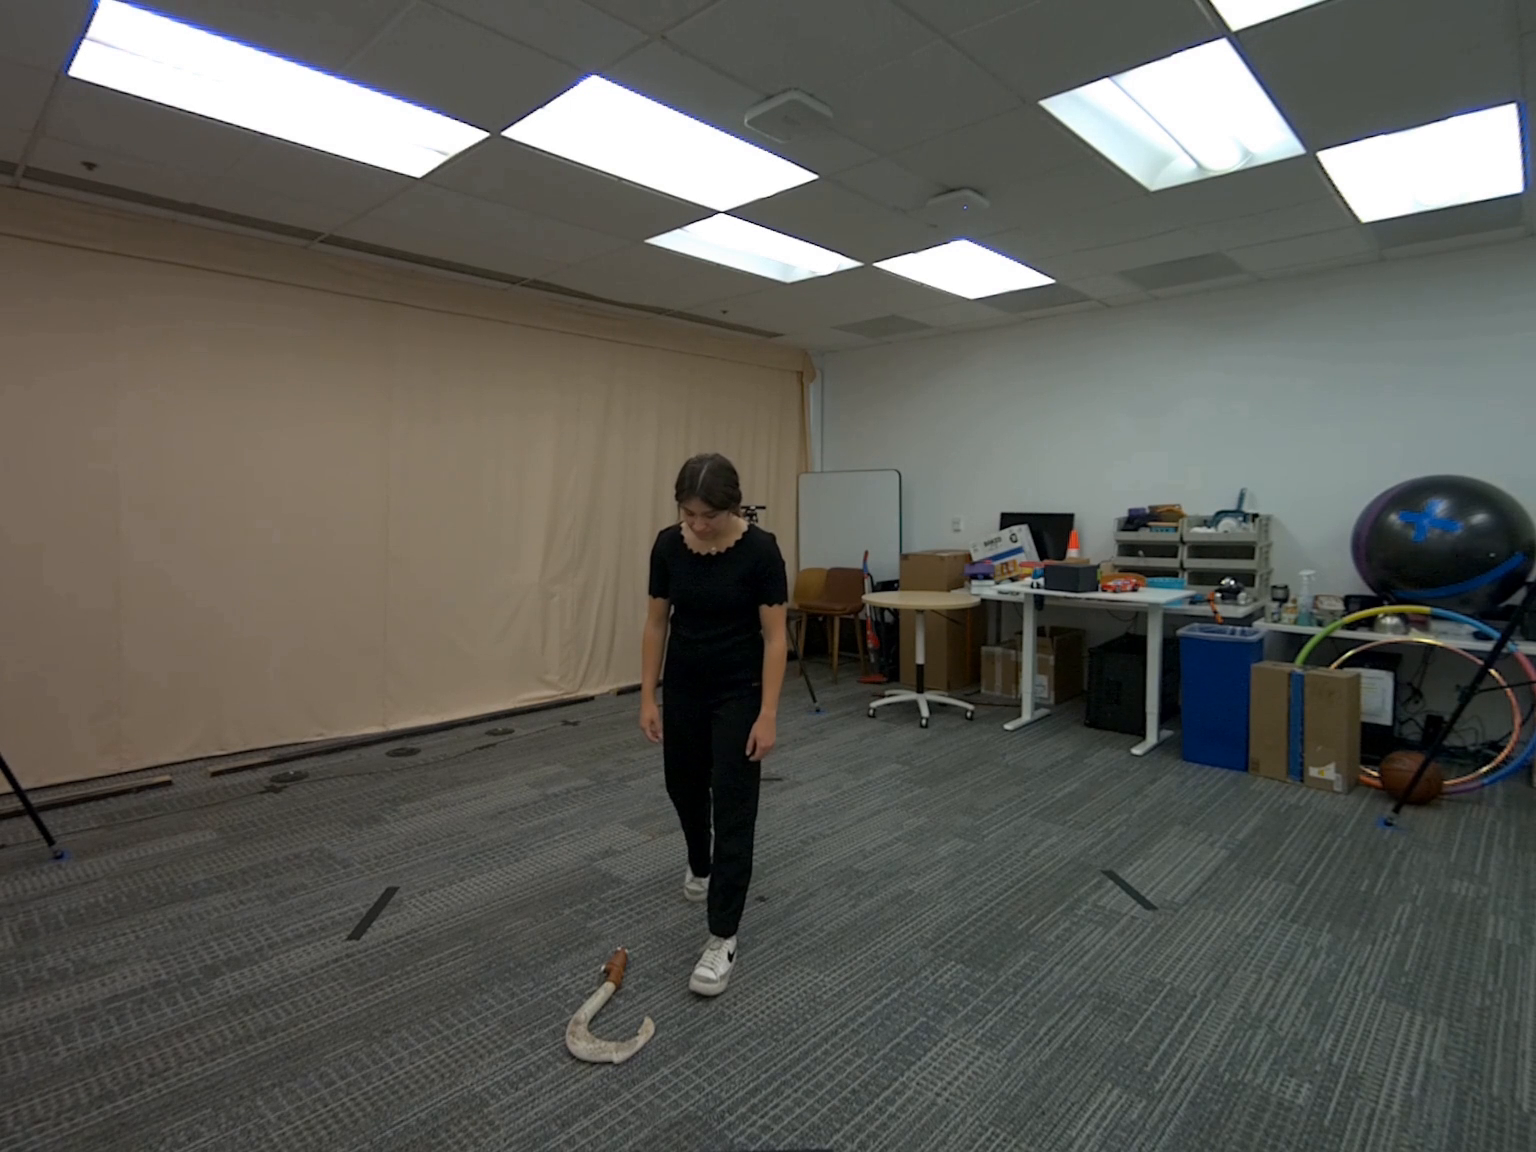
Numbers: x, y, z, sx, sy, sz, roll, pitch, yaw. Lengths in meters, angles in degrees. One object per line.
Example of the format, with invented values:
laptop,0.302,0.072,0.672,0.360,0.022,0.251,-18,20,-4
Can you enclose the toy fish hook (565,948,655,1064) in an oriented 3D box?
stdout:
toy fish hook,-0.408,1.184,2.339,0.225,0.048,0.506,7,6,2
